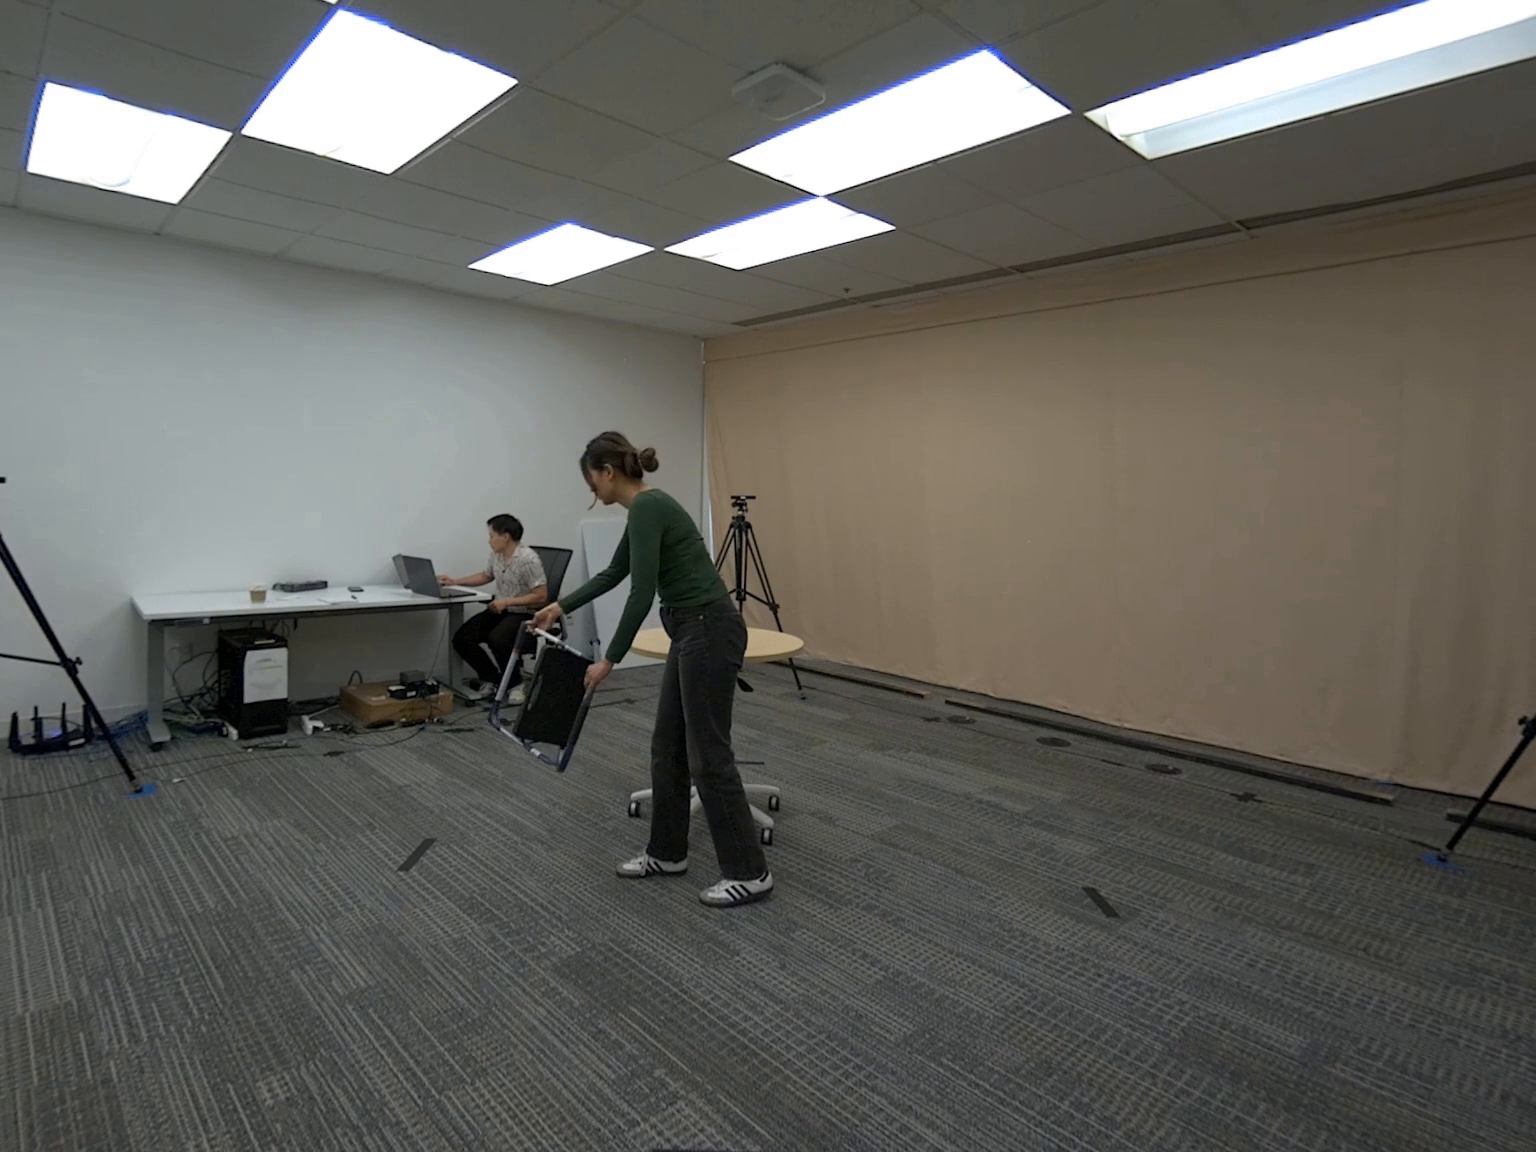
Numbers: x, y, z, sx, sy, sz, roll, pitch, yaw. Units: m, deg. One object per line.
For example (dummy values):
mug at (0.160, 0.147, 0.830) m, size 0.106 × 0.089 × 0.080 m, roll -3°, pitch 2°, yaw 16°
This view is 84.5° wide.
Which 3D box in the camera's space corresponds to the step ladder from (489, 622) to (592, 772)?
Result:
step ladder at (-0.730, 0.464, 3.109) m, size 0.340 × 0.431 × 0.622 m, roll 18°, pitch -1°, yaw -33°
